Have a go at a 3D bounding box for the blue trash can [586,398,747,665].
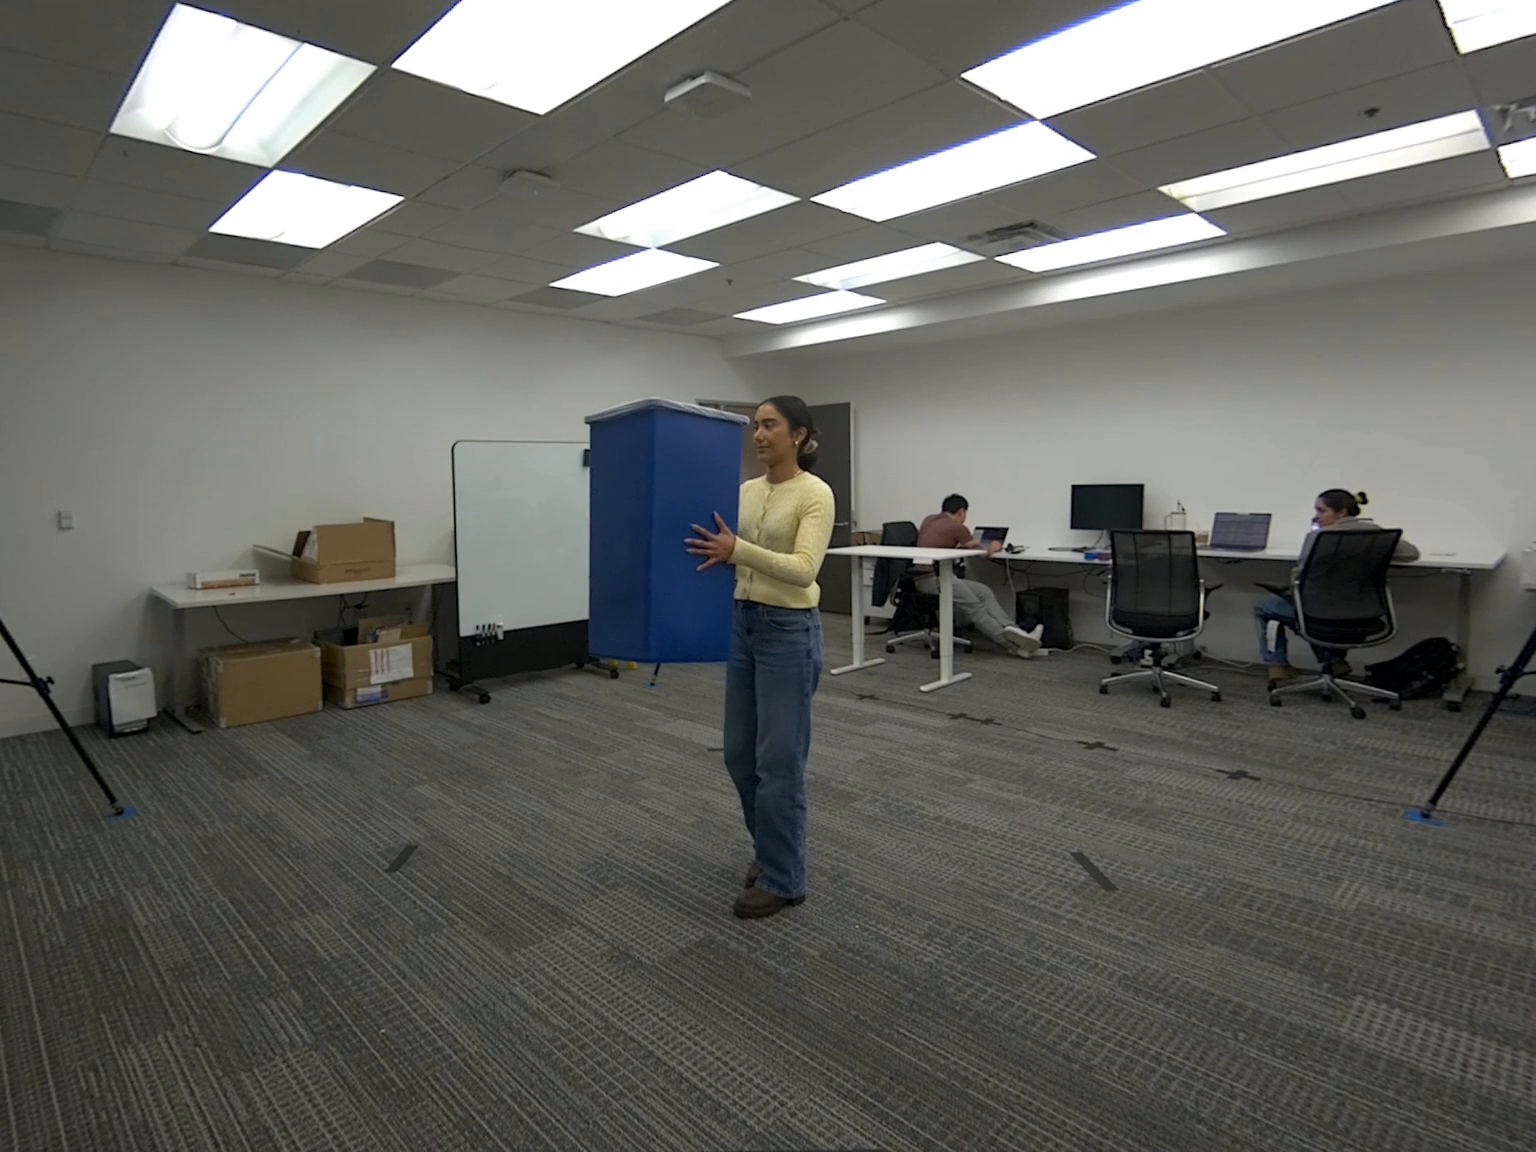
[{"bbox_3d":[-0.306,-0.117,2.499,0.362,0.717,0.388,5,-6,-42],"label":"blue trash can"}]
